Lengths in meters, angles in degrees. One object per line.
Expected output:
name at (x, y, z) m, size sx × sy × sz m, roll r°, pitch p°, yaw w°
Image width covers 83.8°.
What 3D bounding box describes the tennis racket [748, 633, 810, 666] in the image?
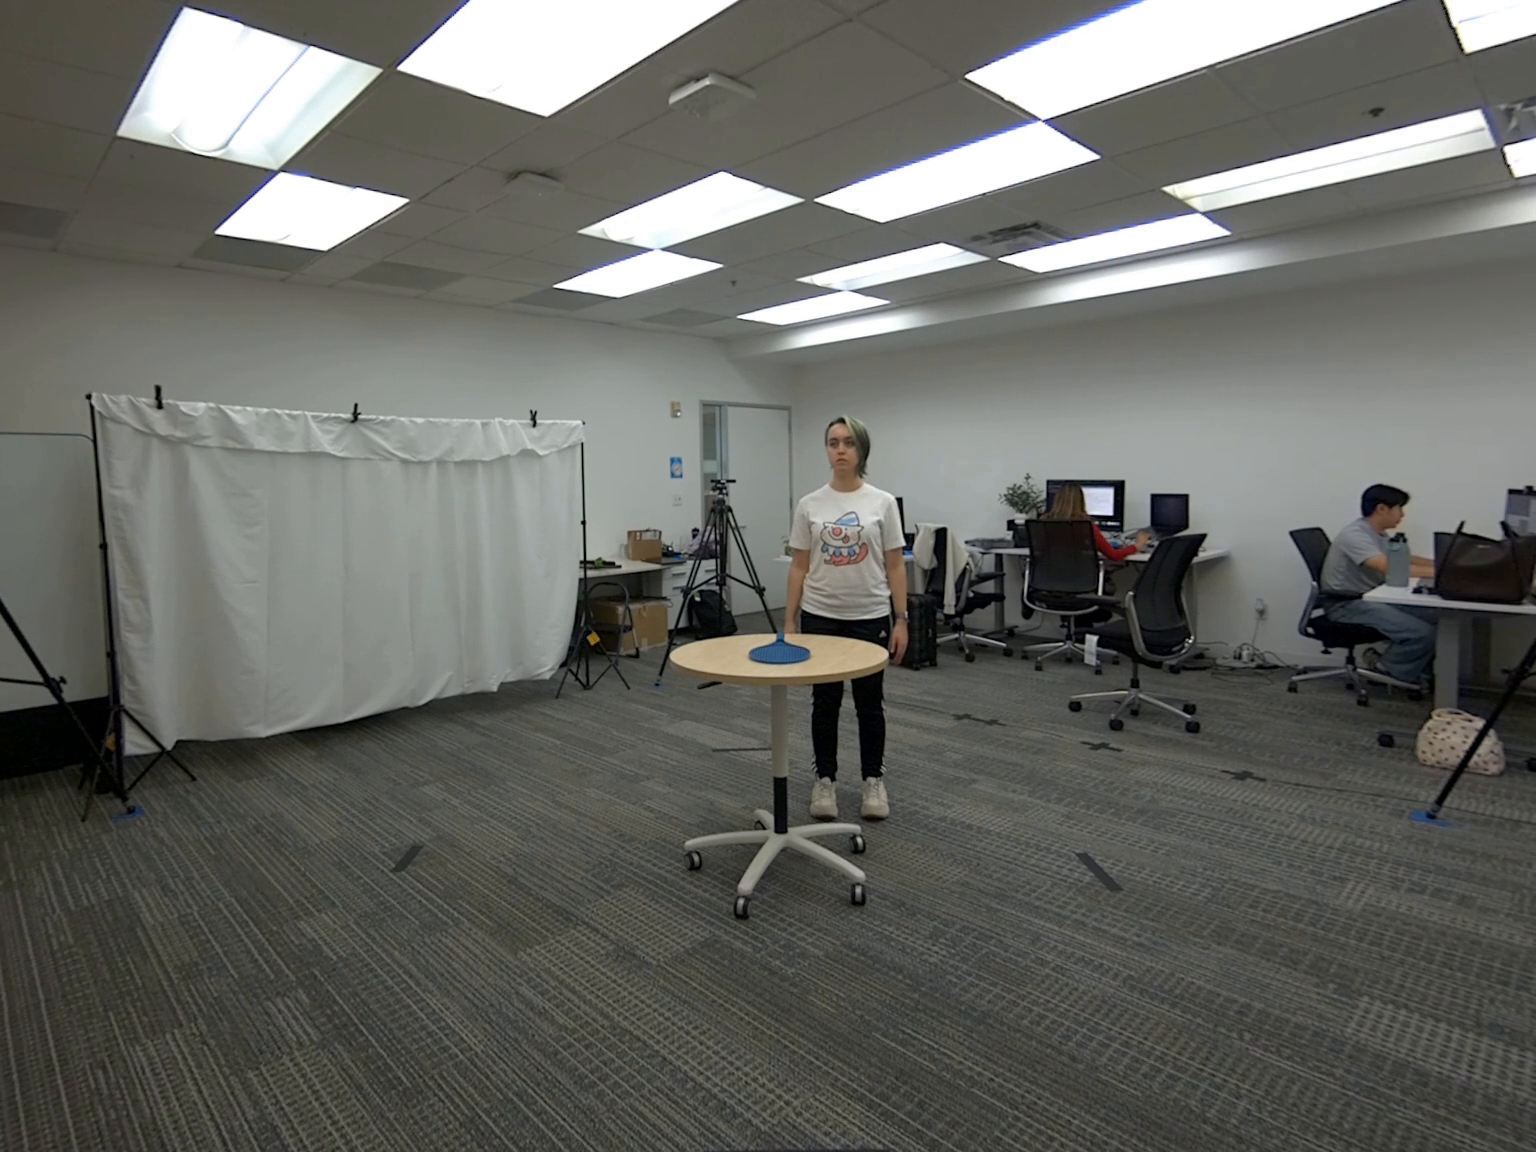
tennis racket at (0.060, 0.265, 3.016) m, size 0.215 × 0.031 × 0.432 m, roll 0°, pitch 8°, yaw 6°
